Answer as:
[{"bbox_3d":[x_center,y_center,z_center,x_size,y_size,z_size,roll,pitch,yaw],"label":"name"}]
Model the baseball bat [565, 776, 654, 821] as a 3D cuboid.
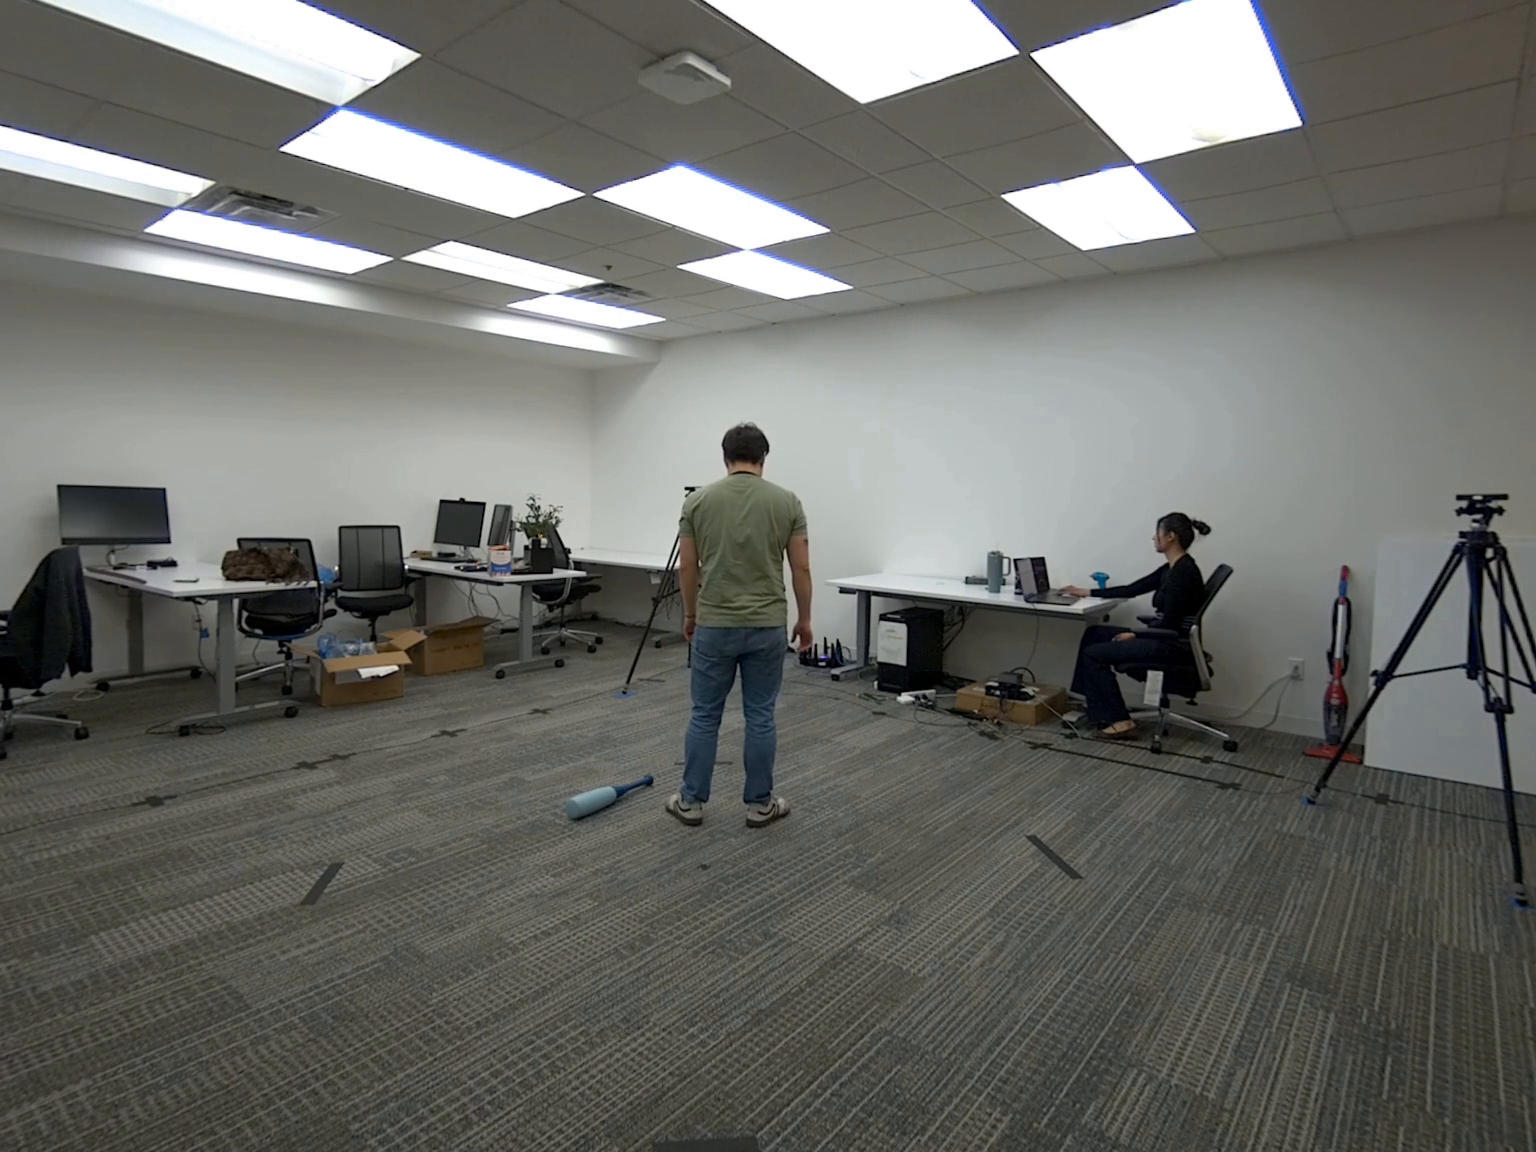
[{"bbox_3d":[-0.699,0.960,3.758,0.092,0.089,0.527,3,3,31],"label":"baseball bat"}]
